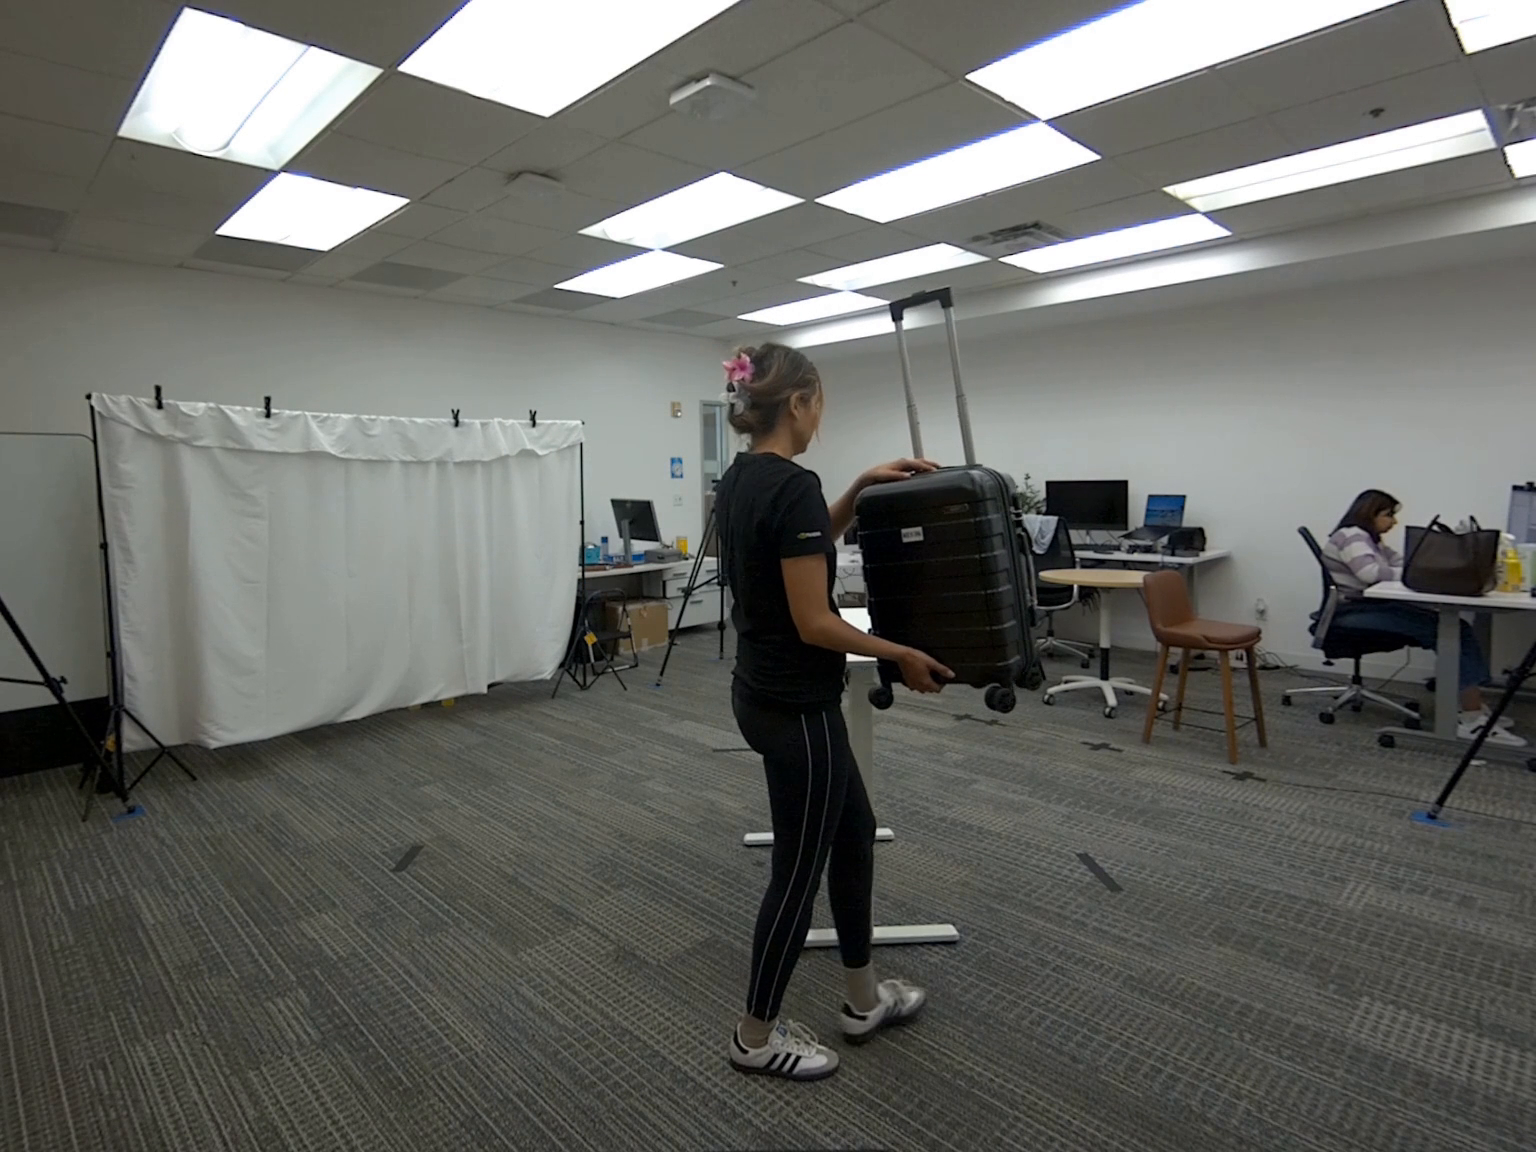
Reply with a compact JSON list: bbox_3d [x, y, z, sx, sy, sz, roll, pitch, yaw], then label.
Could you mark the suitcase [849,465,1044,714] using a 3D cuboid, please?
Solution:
[{"bbox_3d":[0.397,-0.188,2.028,0.393,0.974,0.252,-6,5,35],"label":"suitcase"}]
